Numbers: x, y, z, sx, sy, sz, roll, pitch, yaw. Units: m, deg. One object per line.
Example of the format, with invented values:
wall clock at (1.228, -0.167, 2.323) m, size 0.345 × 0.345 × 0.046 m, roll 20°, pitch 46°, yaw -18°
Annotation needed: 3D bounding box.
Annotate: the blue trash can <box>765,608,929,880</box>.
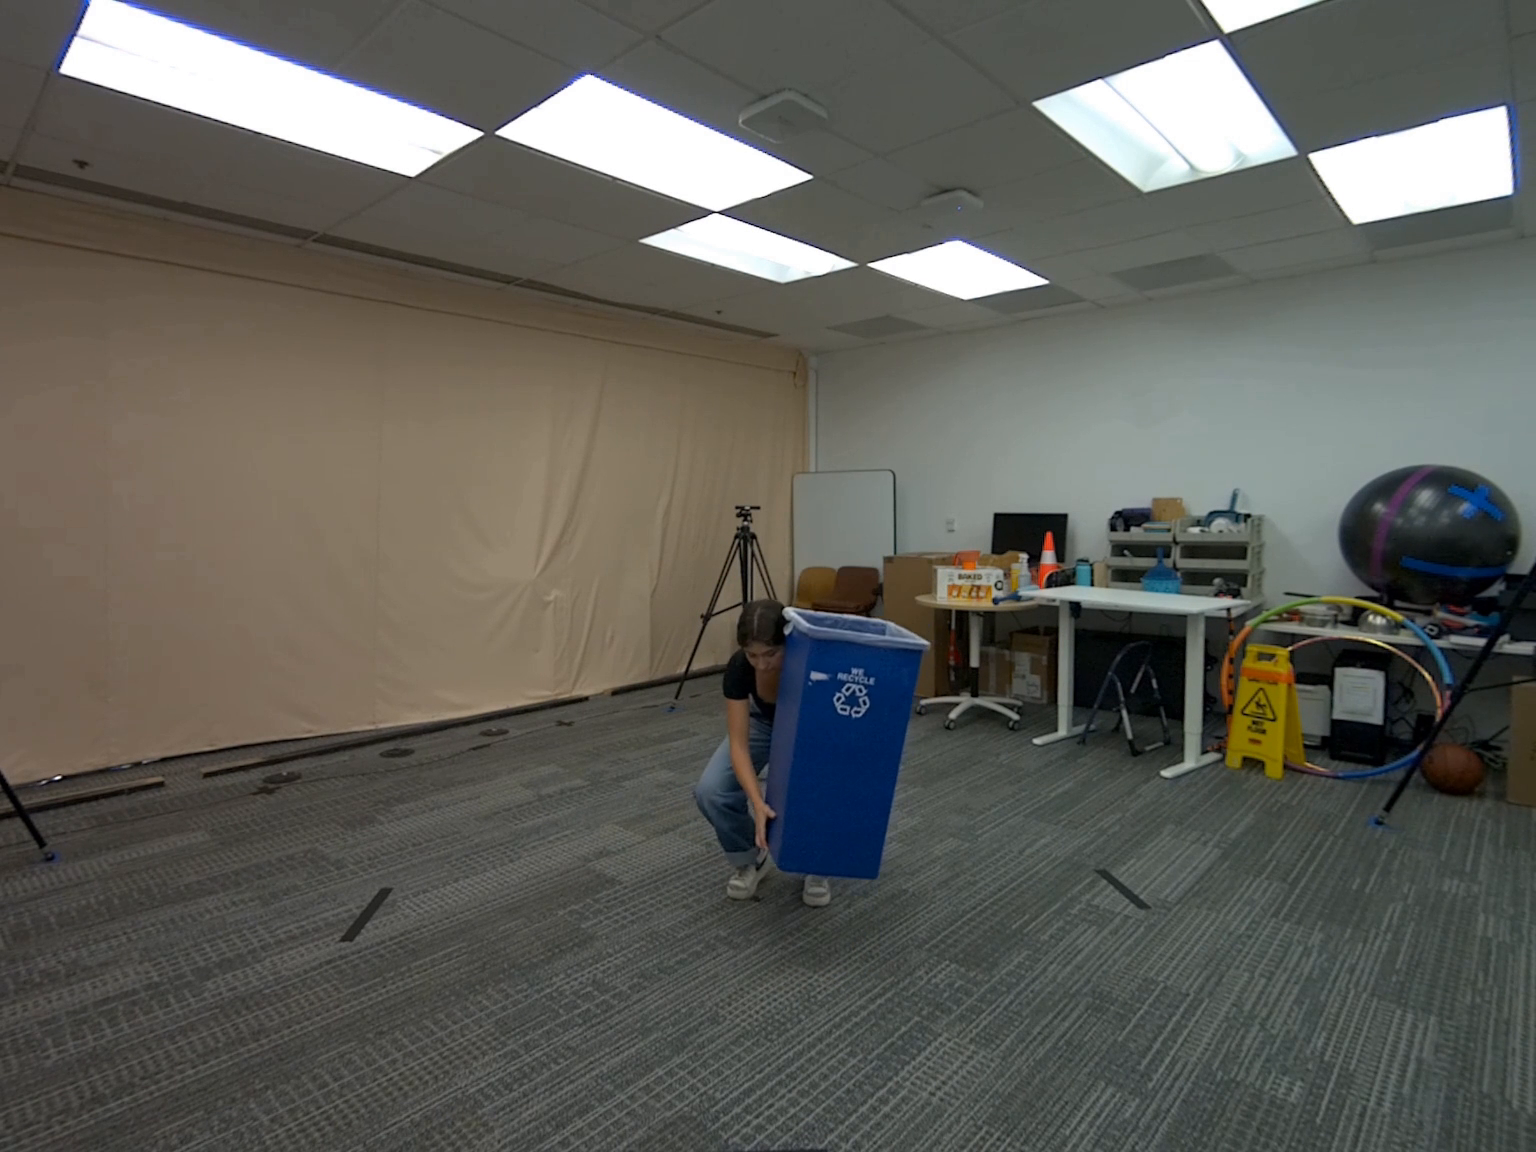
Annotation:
blue trash can at (0.217, 0.495, 2.541) m, size 0.371 × 0.712 × 0.382 m, roll 7°, pitch 5°, yaw -8°
